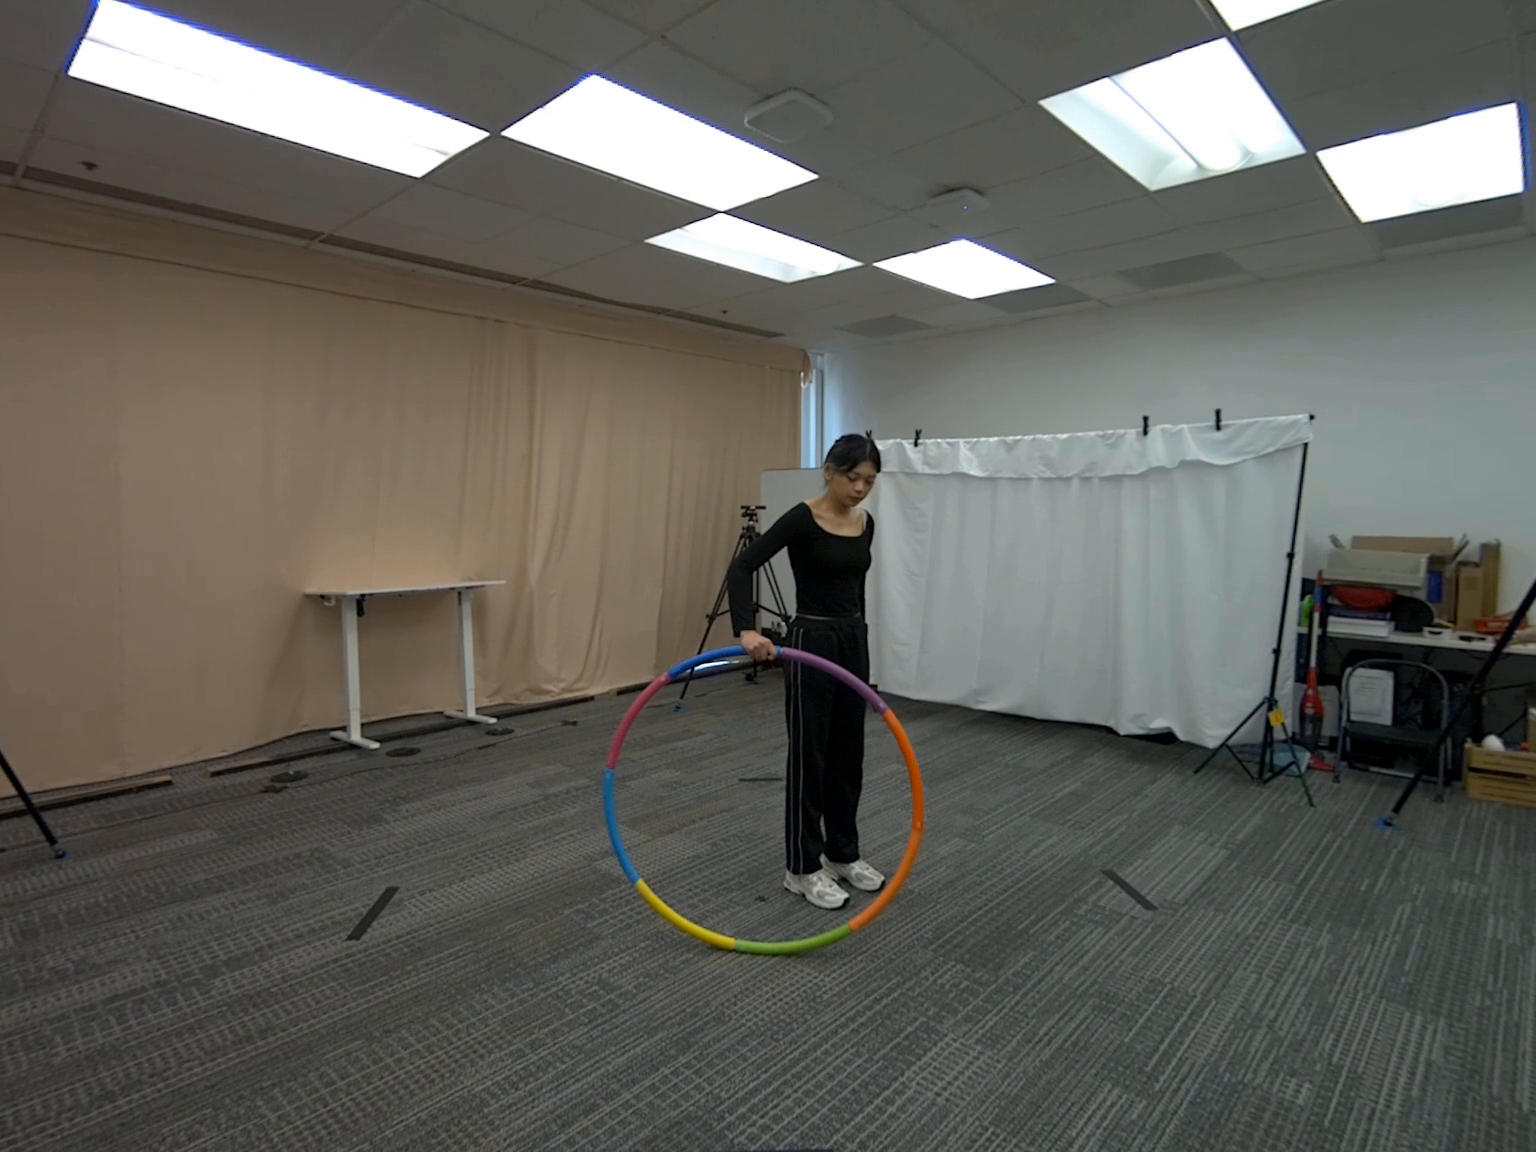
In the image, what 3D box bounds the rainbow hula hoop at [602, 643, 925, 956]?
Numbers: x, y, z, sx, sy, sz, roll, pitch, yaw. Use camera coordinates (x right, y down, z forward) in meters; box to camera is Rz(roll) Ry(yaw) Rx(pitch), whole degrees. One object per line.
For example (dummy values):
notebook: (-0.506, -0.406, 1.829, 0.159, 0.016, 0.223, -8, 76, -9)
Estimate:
rainbow hula hoop: (-0.036, 0.691, 2.646, 0.987, 0.980, 0.035, 0, -2, 8)
